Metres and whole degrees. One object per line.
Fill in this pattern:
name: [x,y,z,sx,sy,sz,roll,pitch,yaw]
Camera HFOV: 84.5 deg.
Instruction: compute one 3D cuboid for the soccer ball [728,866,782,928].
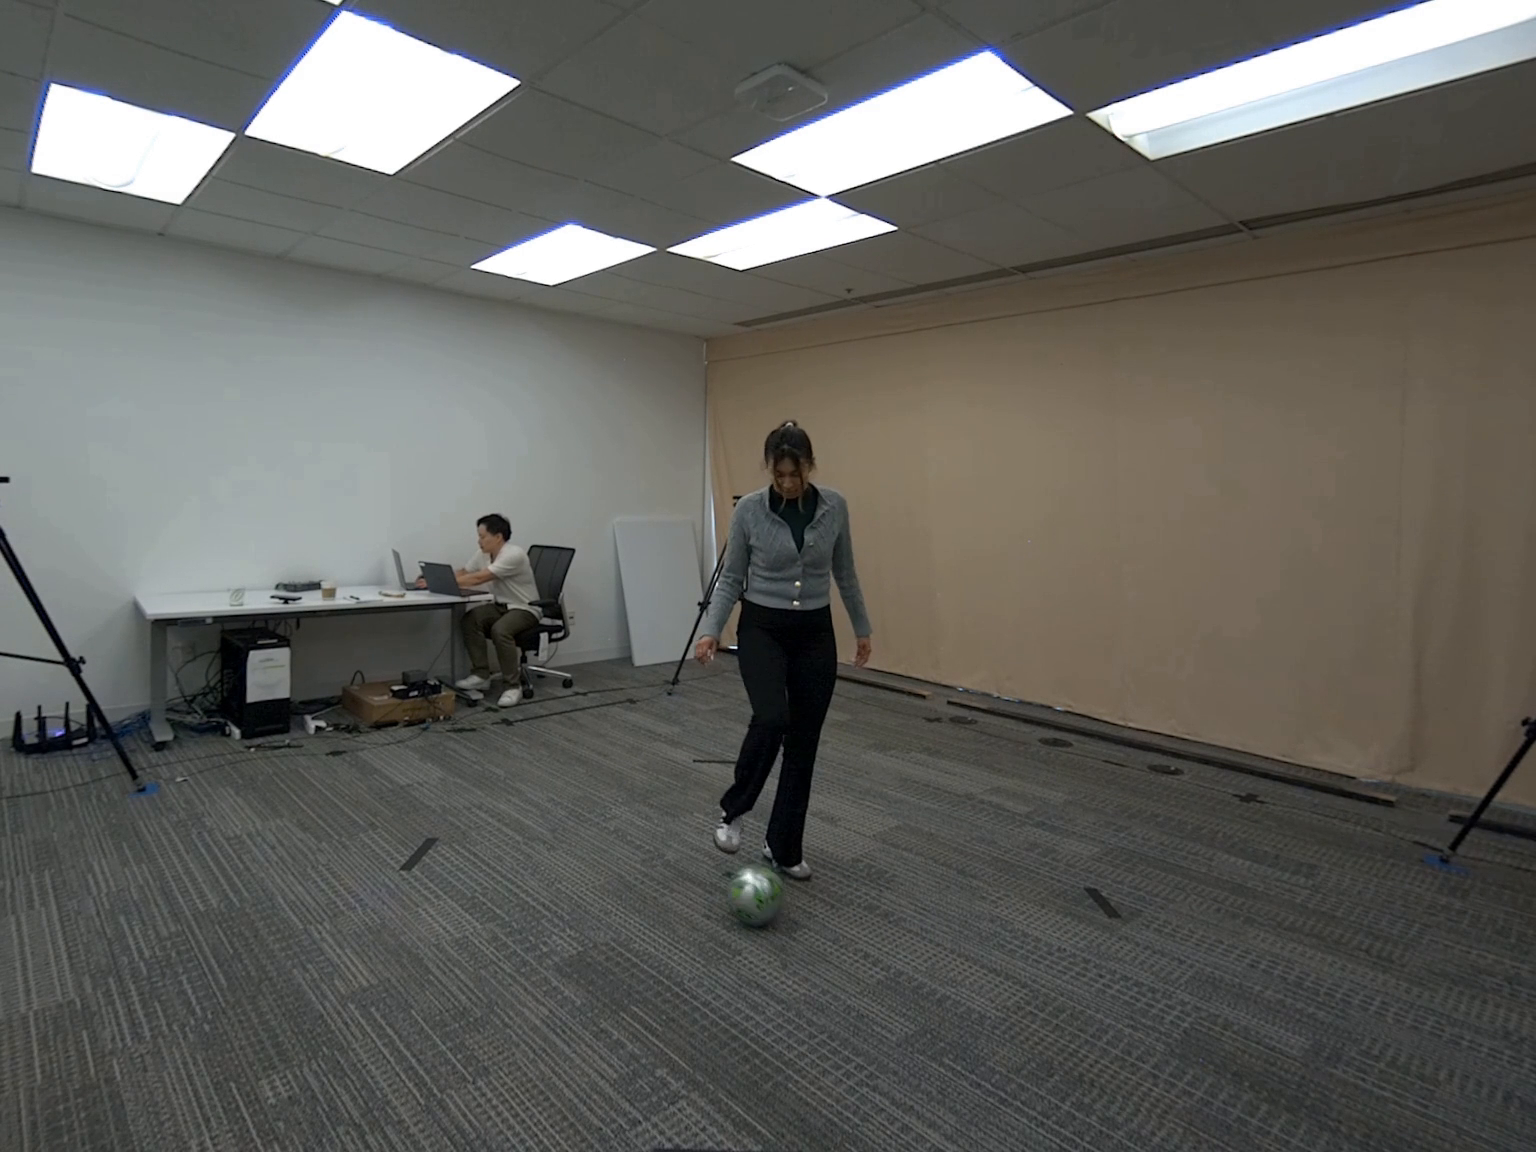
soccer ball: [-0.039,1.043,2.742,0.187,0.187,0.188,1,4,-1]
